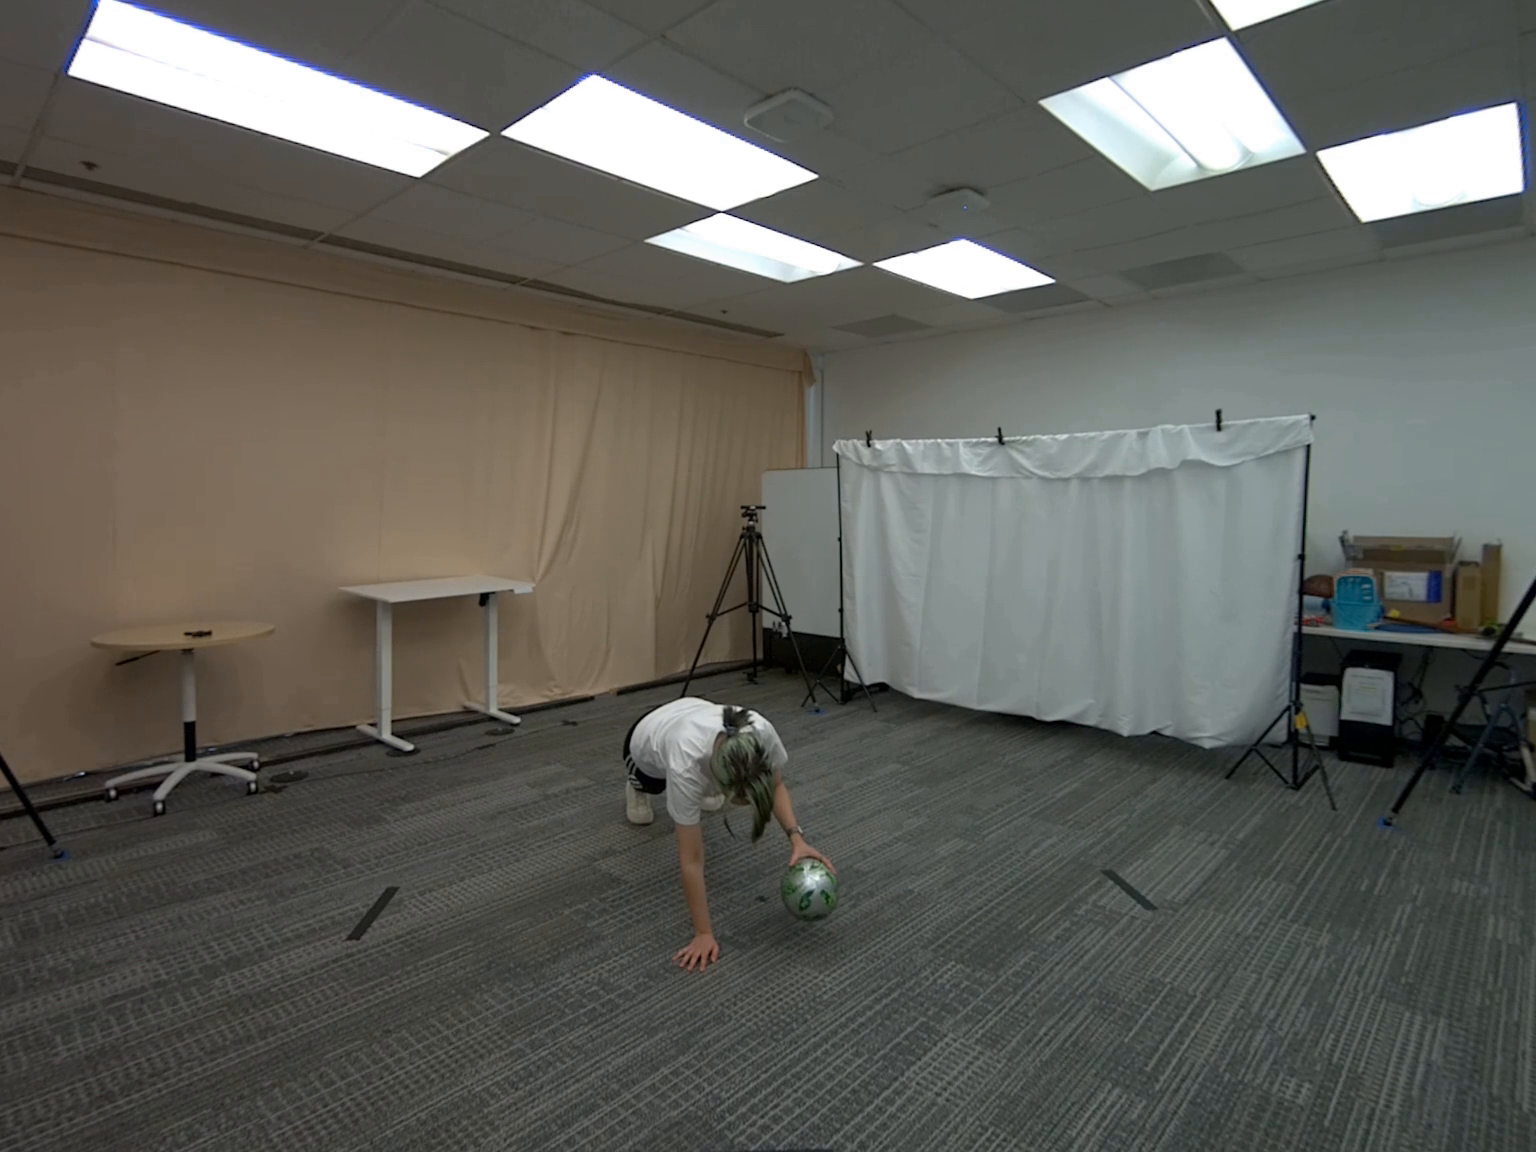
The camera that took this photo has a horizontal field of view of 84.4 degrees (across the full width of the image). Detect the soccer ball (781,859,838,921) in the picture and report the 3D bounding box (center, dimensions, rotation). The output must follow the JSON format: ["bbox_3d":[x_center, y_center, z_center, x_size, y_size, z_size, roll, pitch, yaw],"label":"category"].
[{"bbox_3d":[0.124,1.011,2.675,0.187,0.187,0.188,0,4,-2],"label":"soccer ball"}]
